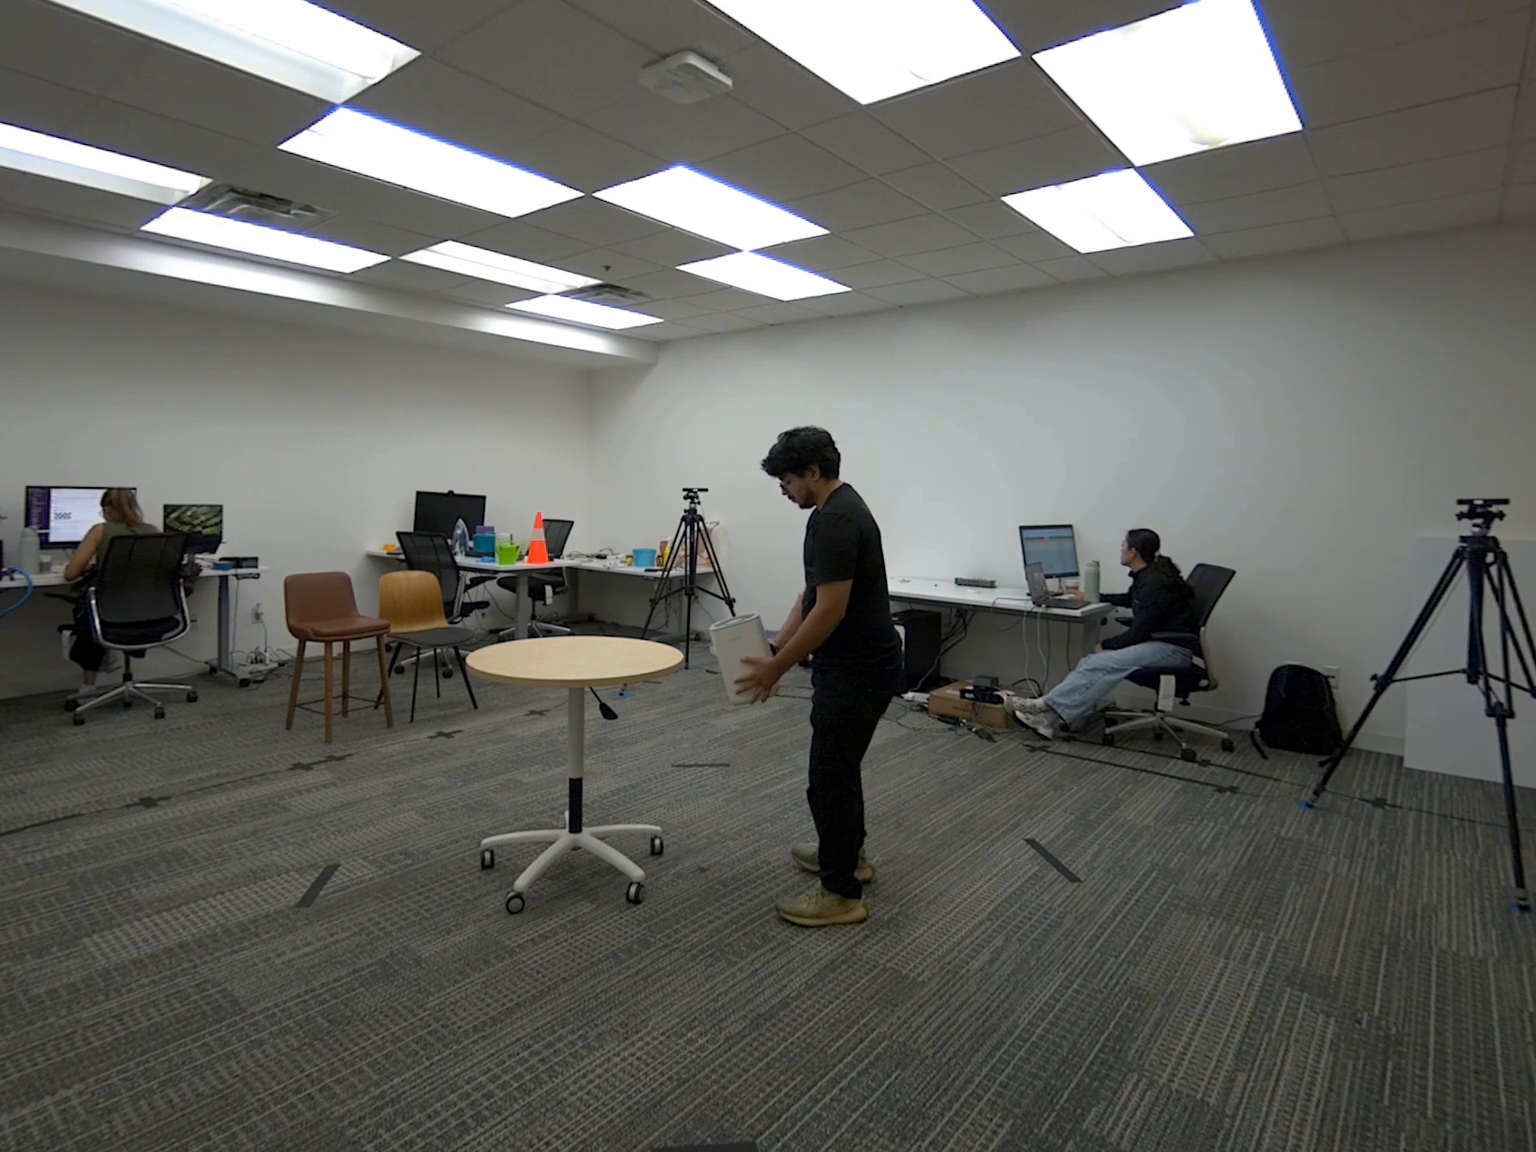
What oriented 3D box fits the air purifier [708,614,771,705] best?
[{"bbox_3d":[-0.080,0.268,2.813,0.172,0.265,0.171,-15,2,5],"label":"air purifier"}]
